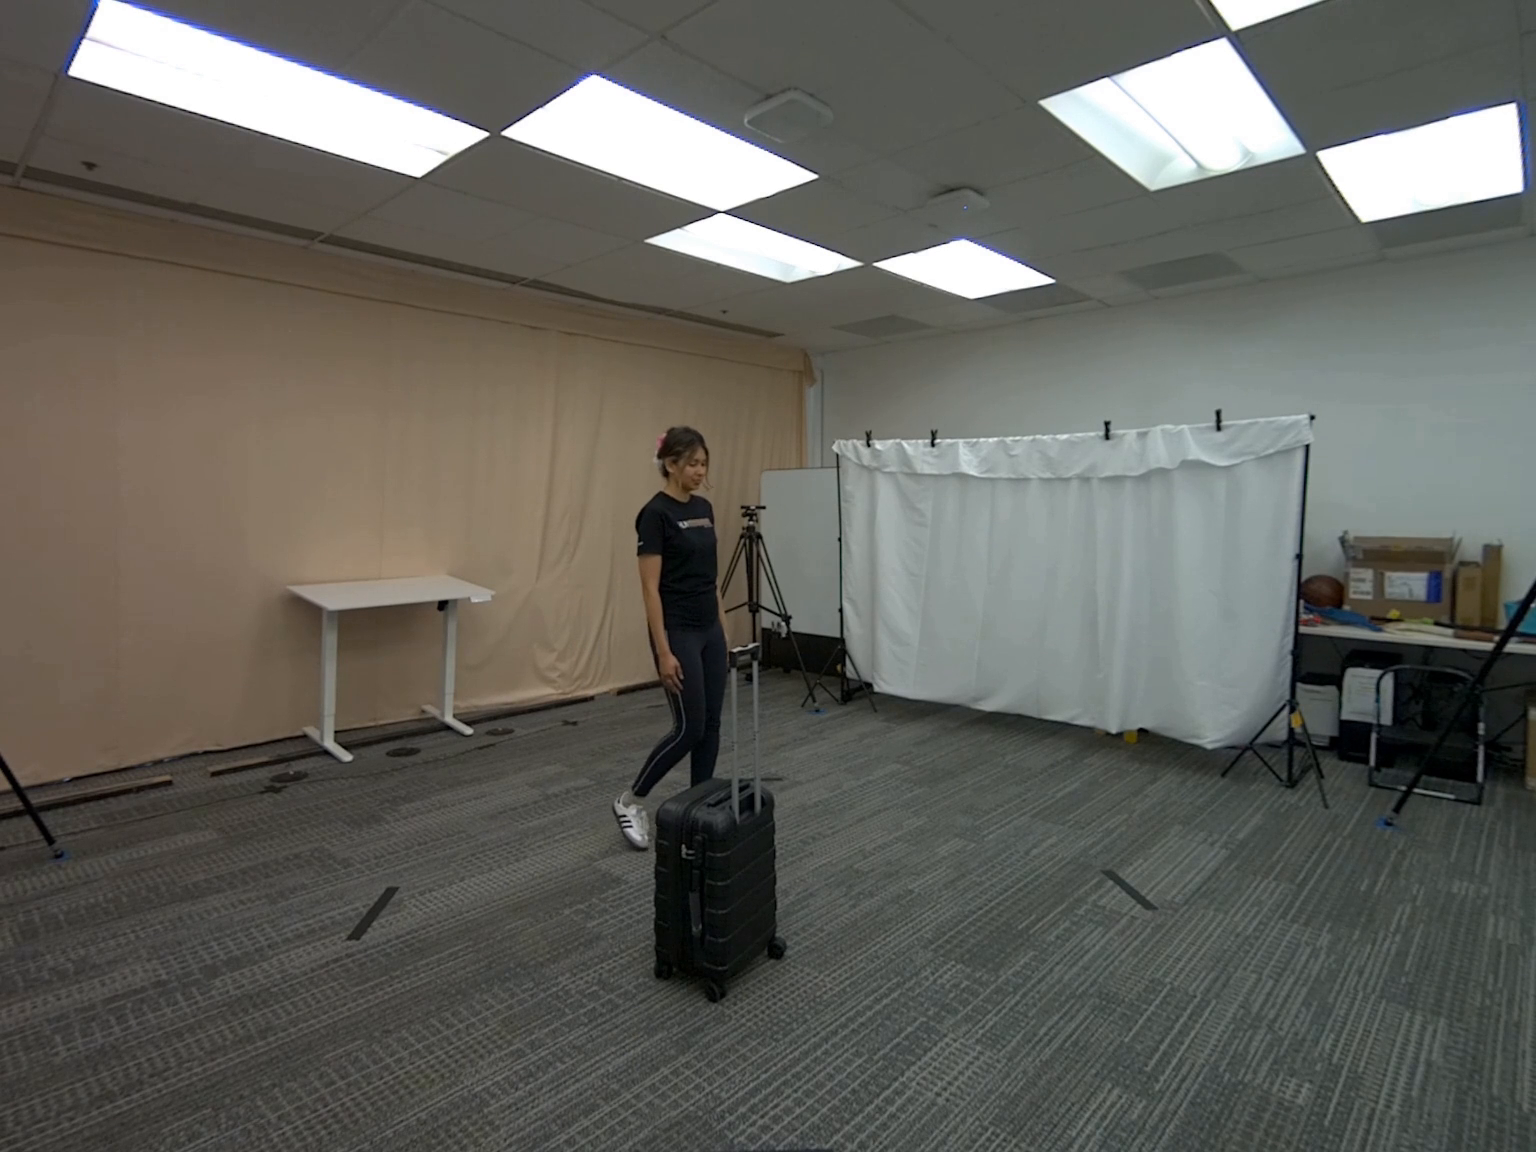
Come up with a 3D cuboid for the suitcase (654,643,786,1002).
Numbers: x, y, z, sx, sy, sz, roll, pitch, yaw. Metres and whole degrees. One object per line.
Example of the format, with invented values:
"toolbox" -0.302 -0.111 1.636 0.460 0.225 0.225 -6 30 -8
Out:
"suitcase" -0.155 0.710 2.511 0.264 0.976 0.374 -1 4 28
